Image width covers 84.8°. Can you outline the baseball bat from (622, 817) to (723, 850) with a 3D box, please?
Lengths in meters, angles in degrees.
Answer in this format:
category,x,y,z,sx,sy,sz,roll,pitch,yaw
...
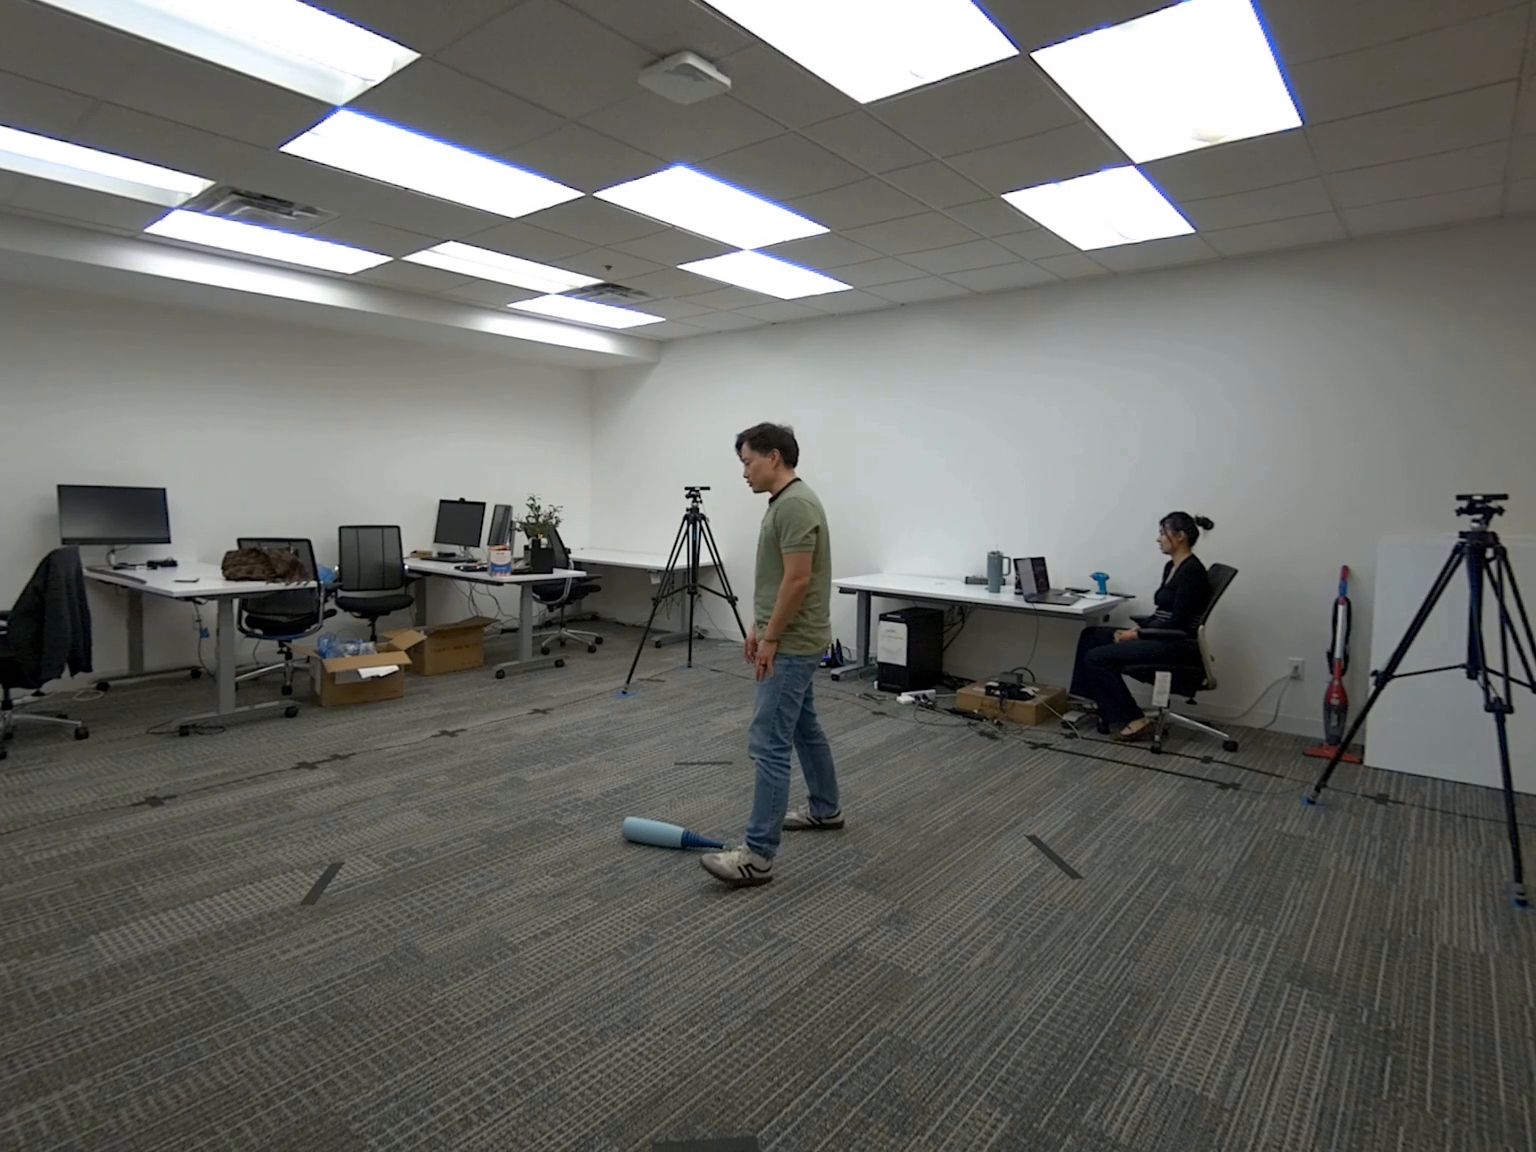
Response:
category,x,y,z,sx,sy,sz,roll,pitch,yaw
baseball bat,-0.317,1.011,3.270,0.552,0.089,0.088,5,5,15
